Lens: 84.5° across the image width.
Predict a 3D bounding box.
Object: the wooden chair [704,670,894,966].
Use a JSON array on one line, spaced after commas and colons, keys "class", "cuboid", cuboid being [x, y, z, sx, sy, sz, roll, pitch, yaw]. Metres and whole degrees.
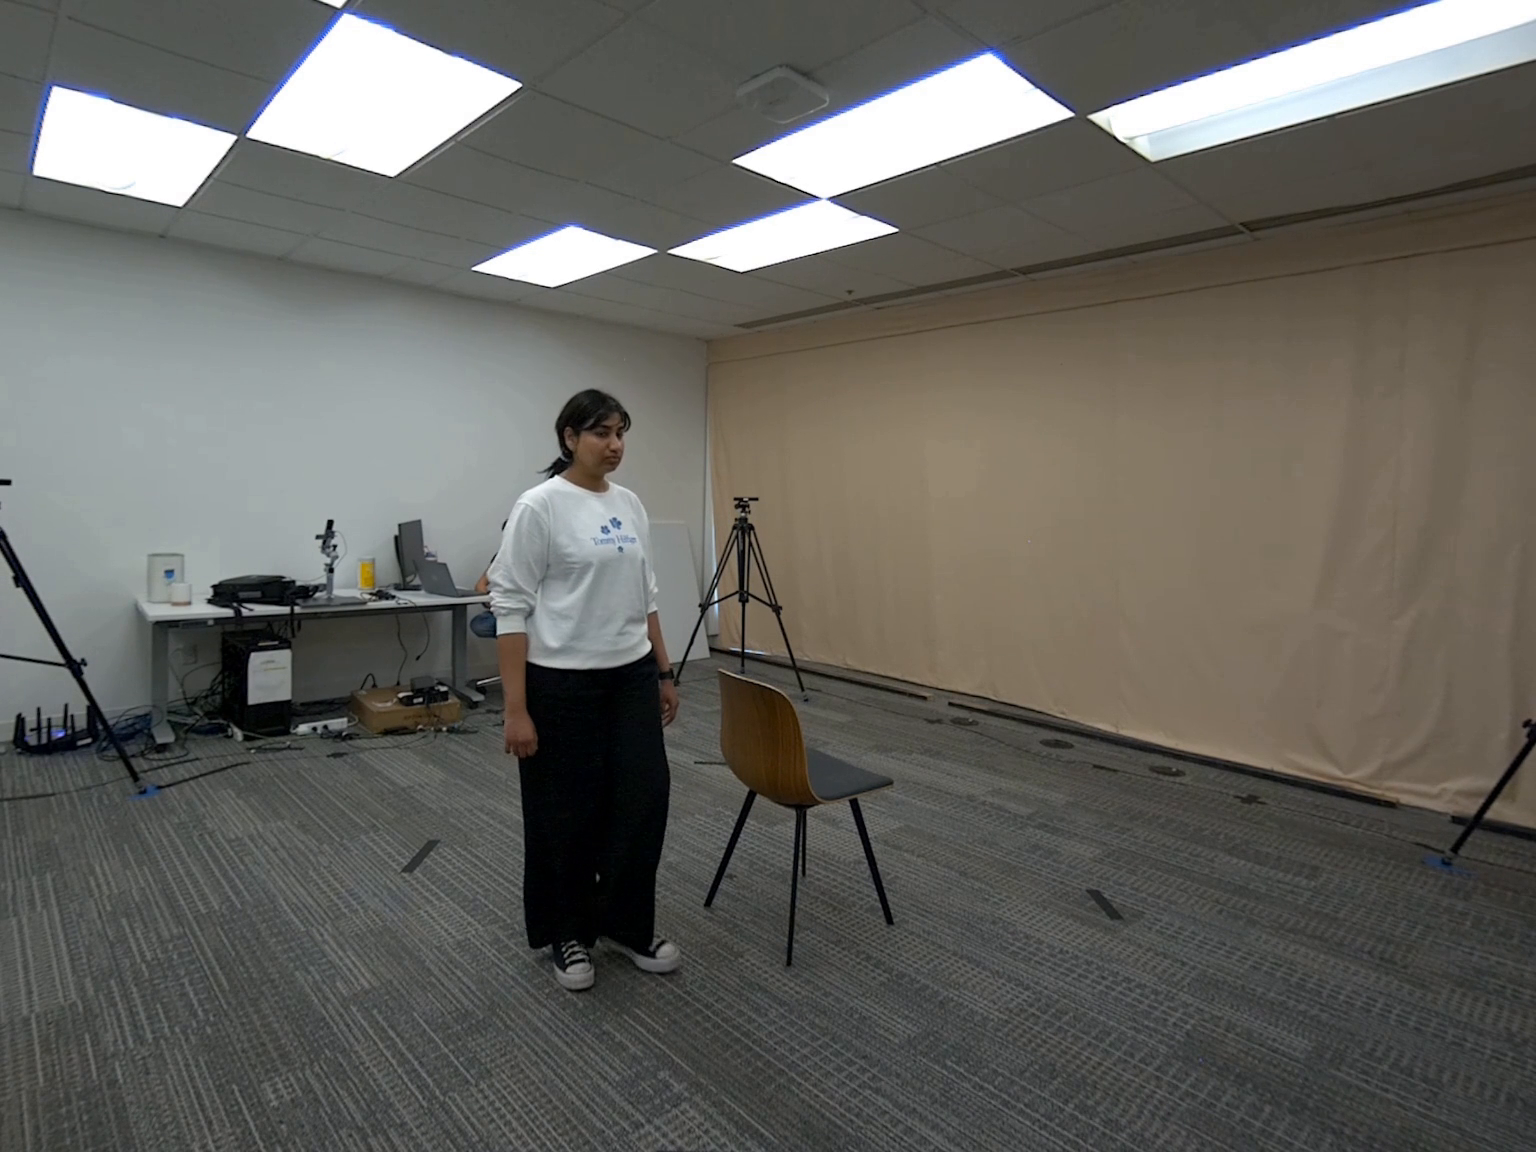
[{"class": "wooden chair", "cuboid": [0.111, 0.715, 2.799, 0.512, 0.873, 0.490, -7, 8, -37]}]
